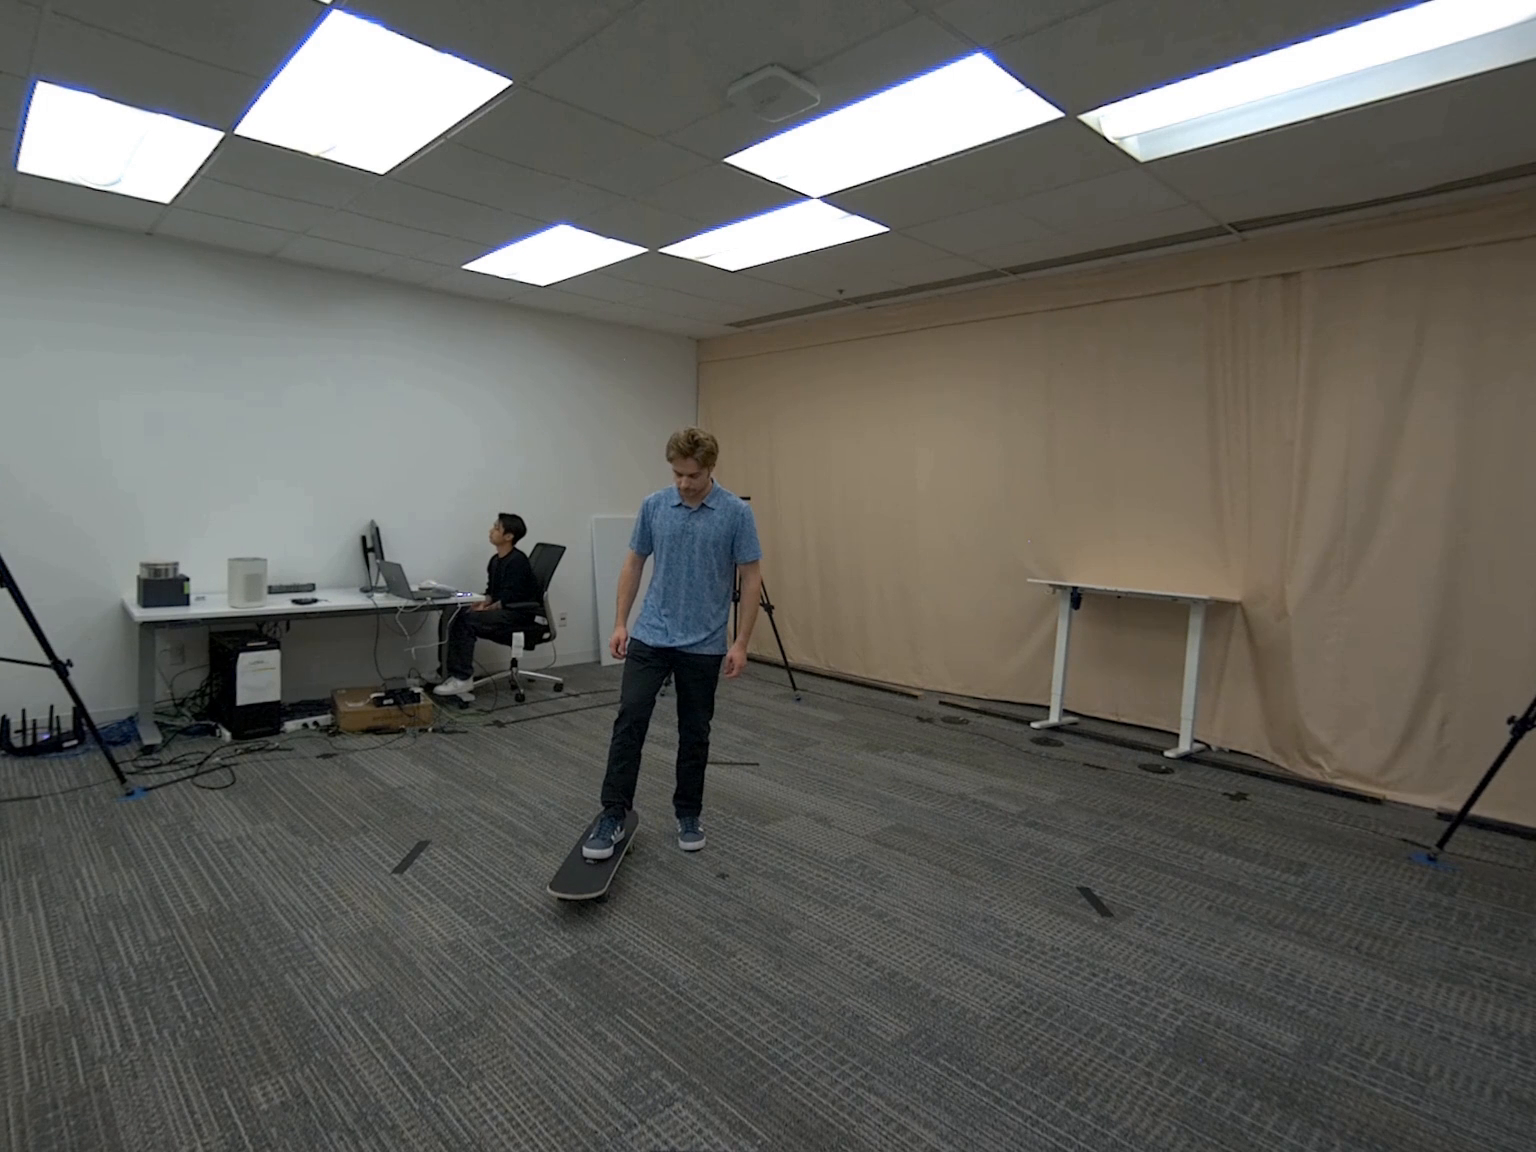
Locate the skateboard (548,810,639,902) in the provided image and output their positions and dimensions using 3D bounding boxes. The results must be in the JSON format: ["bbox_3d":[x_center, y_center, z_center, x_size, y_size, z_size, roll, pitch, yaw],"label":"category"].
[{"bbox_3d":[-0.627,1.039,3.092,0.194,0.110,0.785,4,5,2],"label":"skateboard"}]
